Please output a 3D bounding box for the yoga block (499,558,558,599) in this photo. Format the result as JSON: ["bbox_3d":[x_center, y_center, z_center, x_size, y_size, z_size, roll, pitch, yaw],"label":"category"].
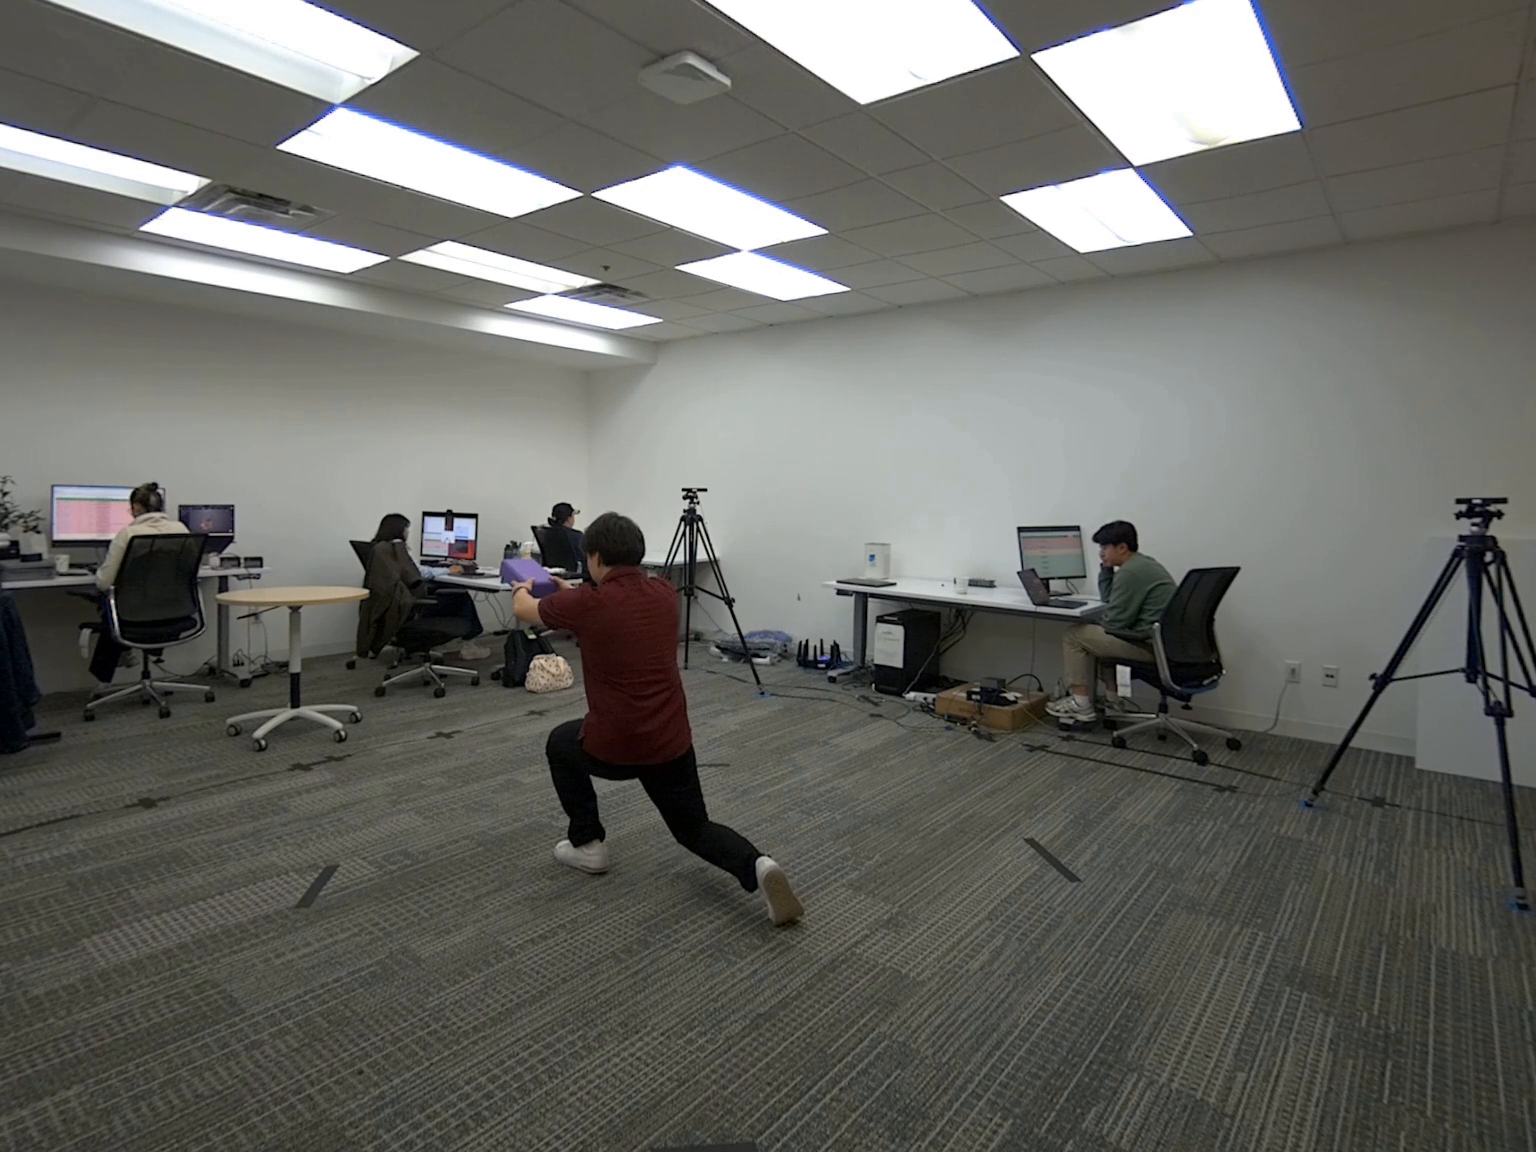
[{"bbox_3d":[-0.983,-0.002,3.470,0.144,0.075,0.239,-5,28,-44],"label":"yoga block"}]
